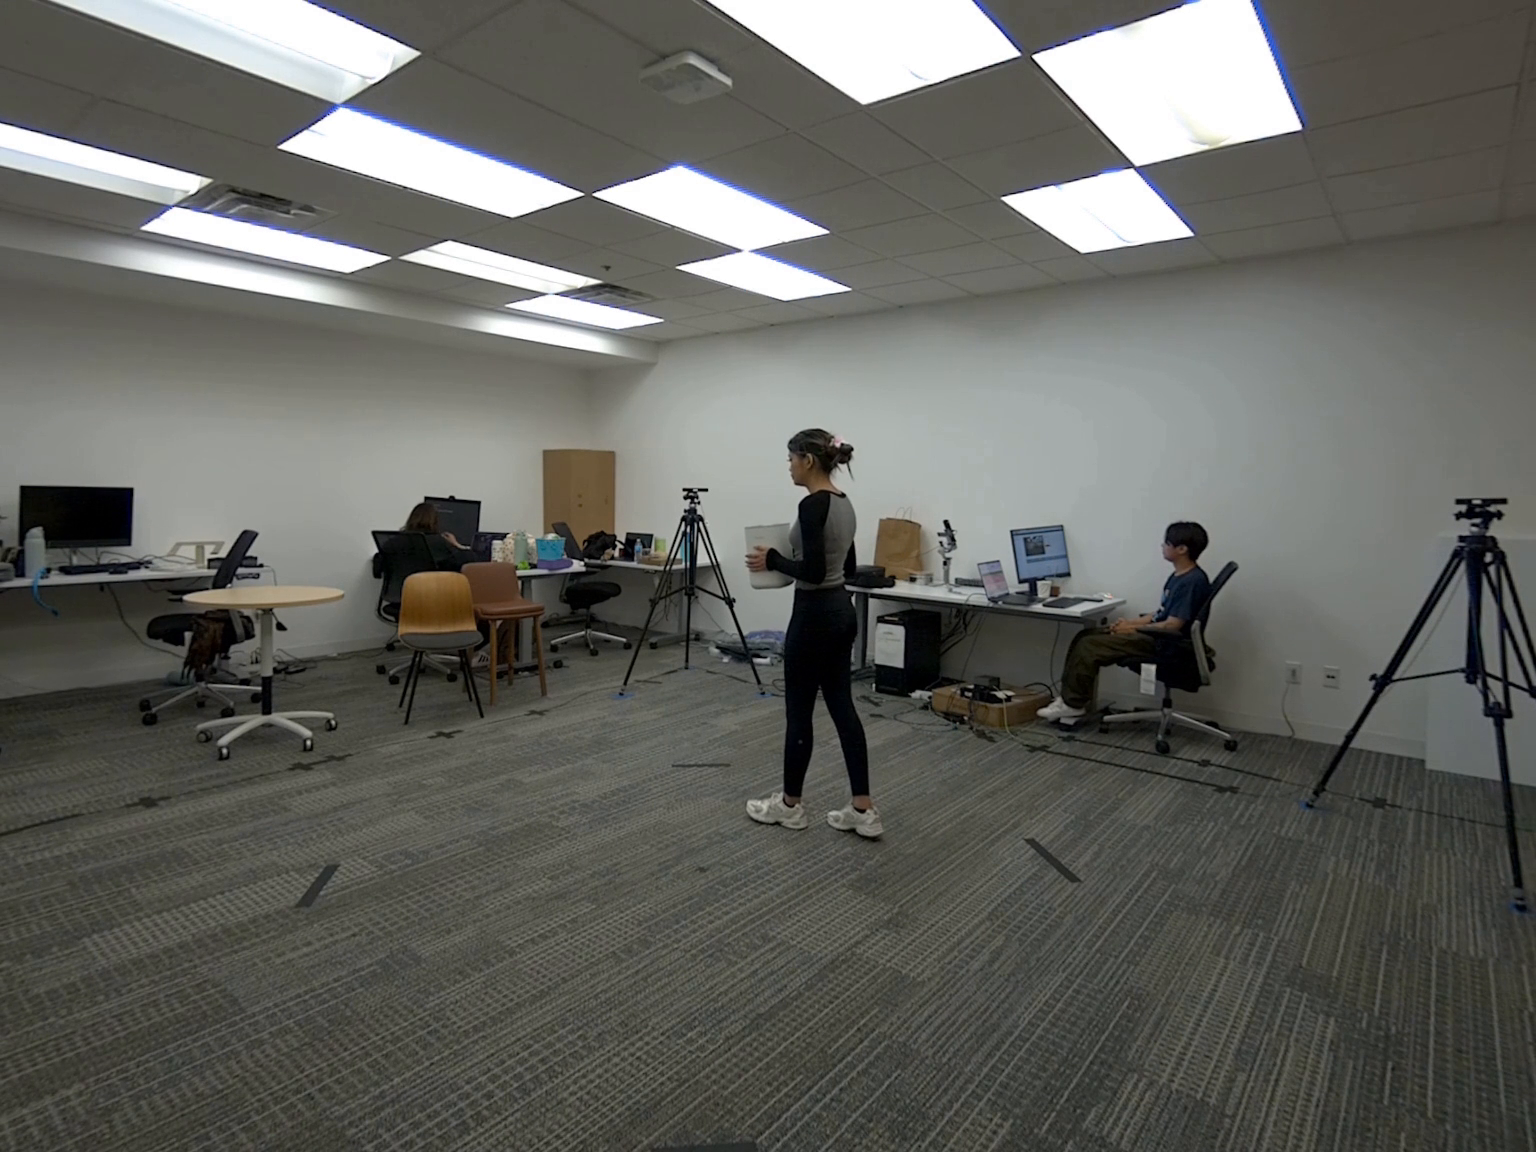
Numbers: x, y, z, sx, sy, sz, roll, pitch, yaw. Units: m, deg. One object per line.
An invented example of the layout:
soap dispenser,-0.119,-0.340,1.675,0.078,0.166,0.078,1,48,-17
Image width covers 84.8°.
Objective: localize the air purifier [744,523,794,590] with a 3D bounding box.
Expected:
air purifier,0.007,-0.088,3.600,0.175,0.265,0.168,-5,2,23
